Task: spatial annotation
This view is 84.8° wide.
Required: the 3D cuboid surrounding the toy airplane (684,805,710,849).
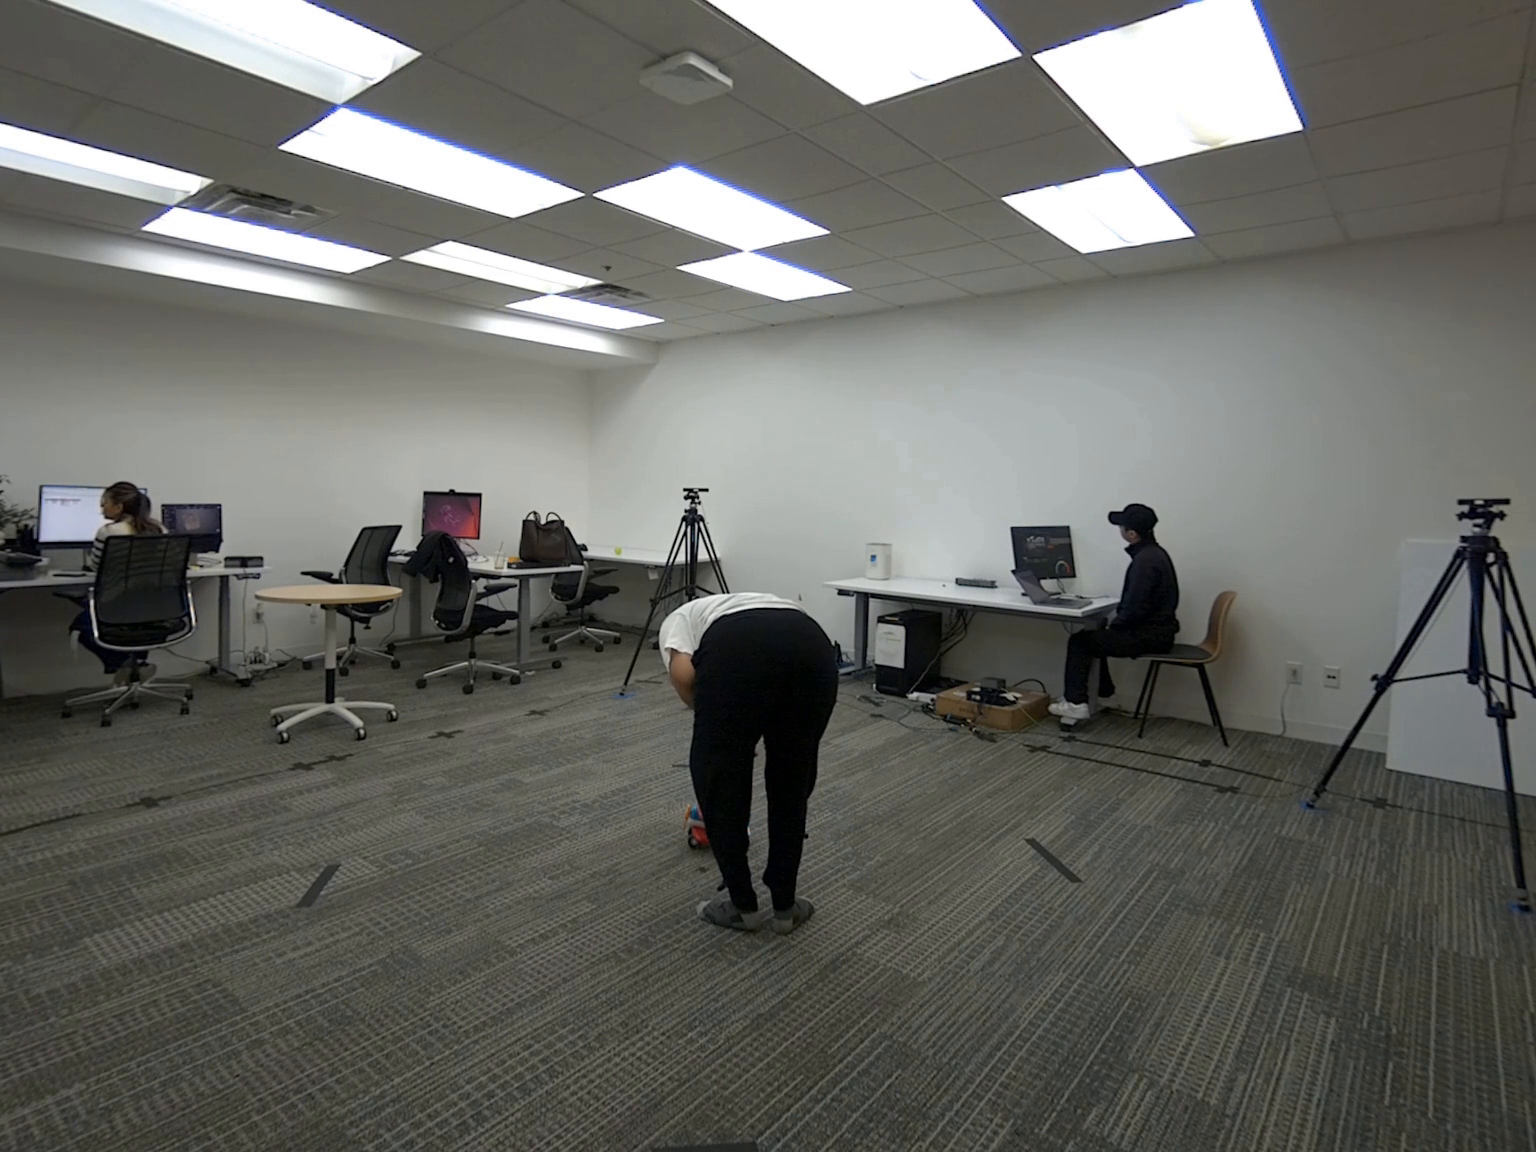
[{"bbox_3d":[-0.215,0.972,3.361,0.252,0.156,0.258,-2,3,-29],"label":"toy airplane"}]
